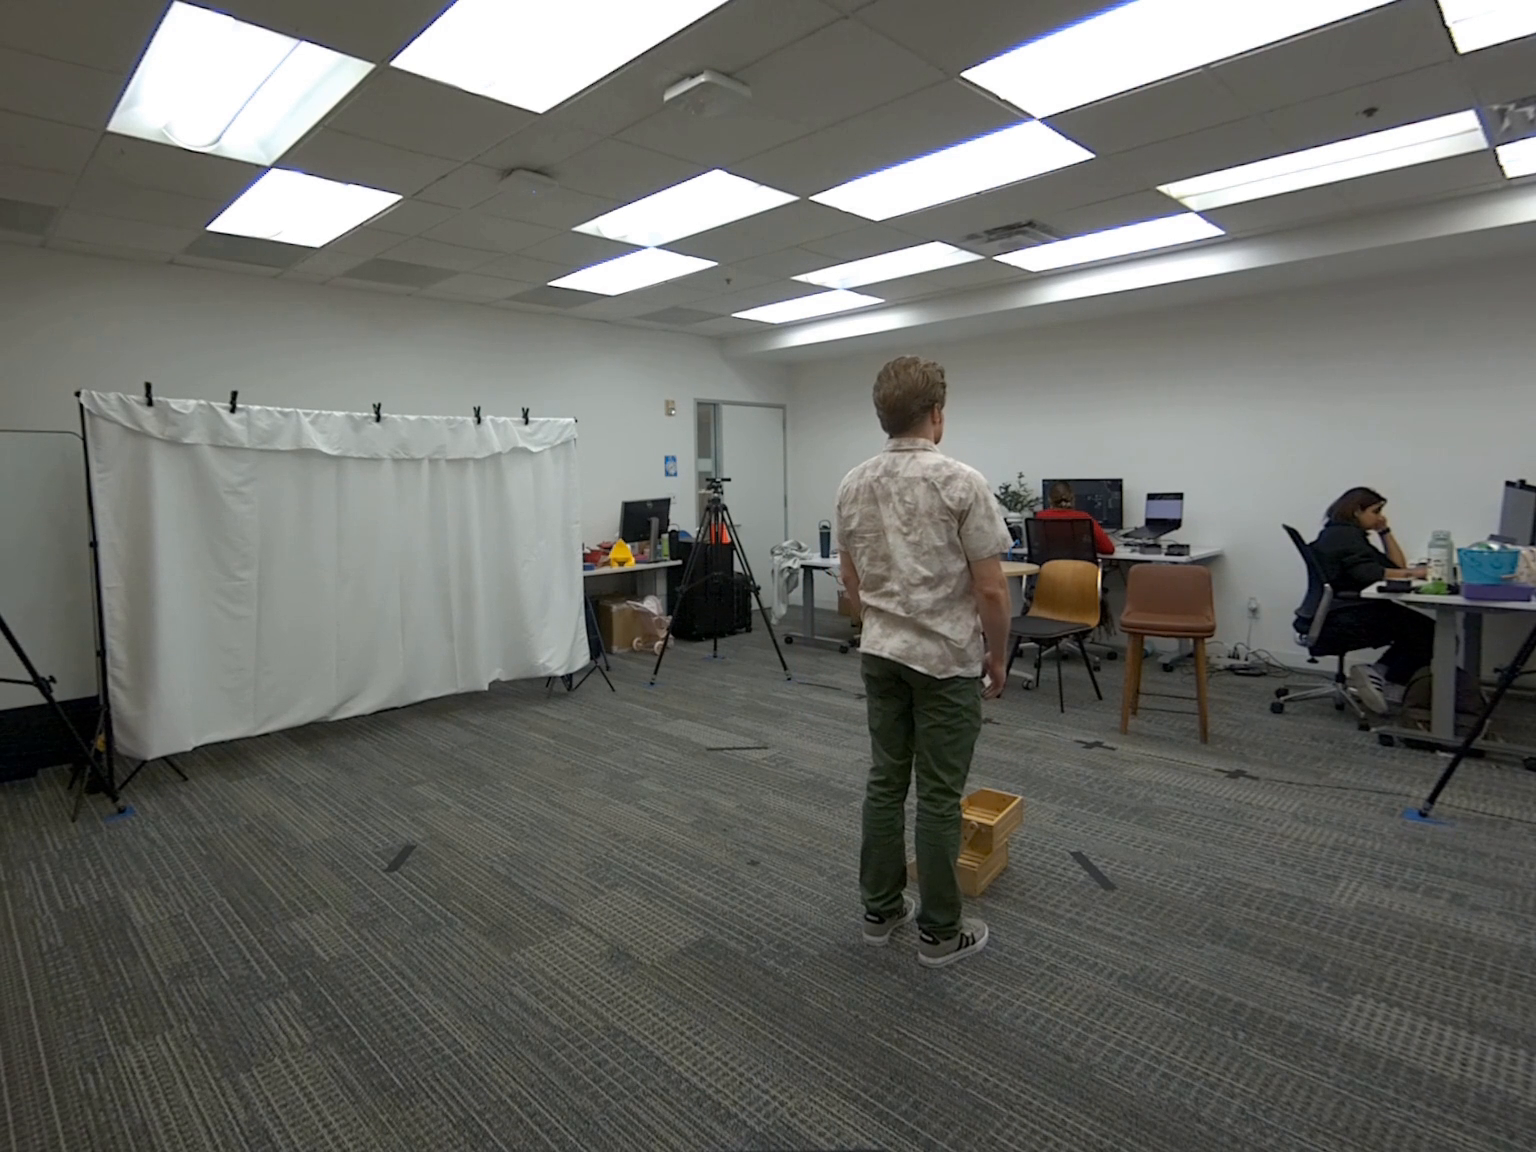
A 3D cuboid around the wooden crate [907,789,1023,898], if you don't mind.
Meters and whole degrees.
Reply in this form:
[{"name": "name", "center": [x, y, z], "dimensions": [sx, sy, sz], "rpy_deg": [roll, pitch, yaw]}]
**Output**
[{"name": "wooden crate", "center": [0.695, 0.909, 2.989], "dimensions": [0.311, 0.272, 0.316], "rpy_deg": [4, 7, 35]}]
